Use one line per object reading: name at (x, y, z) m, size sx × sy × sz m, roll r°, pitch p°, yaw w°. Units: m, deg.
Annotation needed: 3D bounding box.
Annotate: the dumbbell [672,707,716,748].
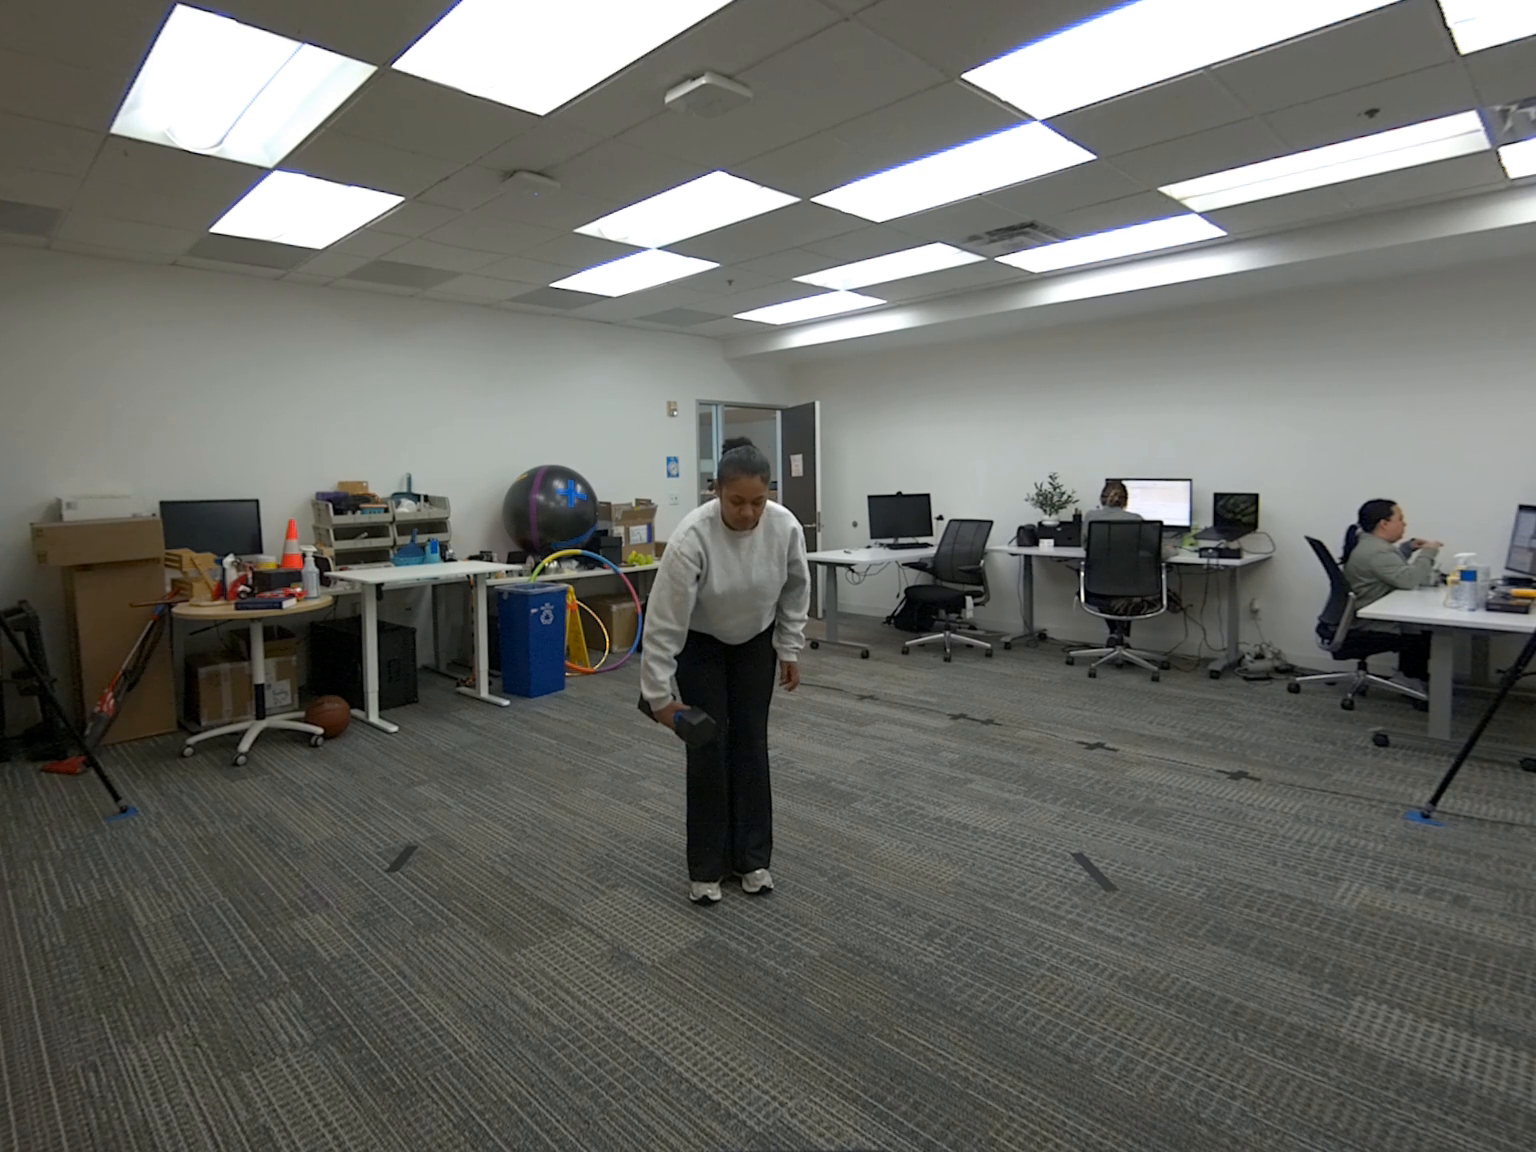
dumbbell at (-0.298, 0.463, 2.768) m, size 0.105 × 0.122 × 0.304 m, roll 10°, pitch 8°, yaw -43°
